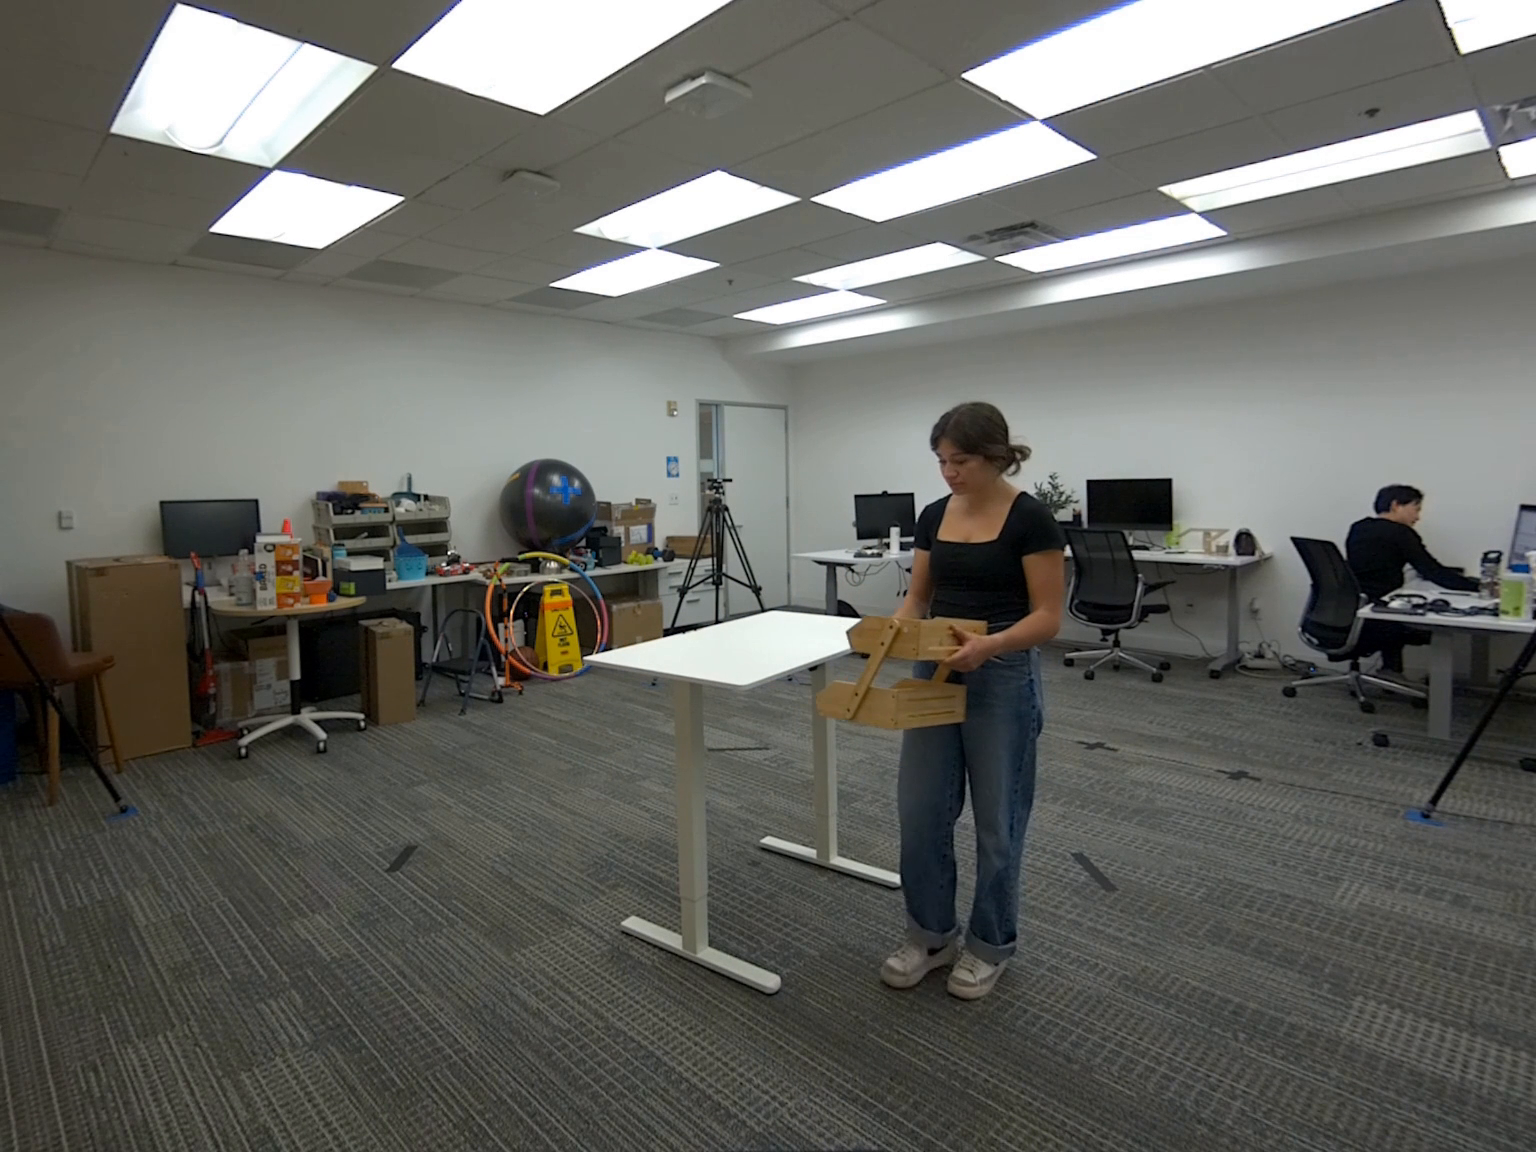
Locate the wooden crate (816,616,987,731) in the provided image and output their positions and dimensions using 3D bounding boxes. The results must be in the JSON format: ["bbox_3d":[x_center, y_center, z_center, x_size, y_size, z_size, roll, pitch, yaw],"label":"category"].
[{"bbox_3d":[0.331,0.228,2.157,0.314,0.274,0.311,4,-2,-44],"label":"wooden crate"}]
